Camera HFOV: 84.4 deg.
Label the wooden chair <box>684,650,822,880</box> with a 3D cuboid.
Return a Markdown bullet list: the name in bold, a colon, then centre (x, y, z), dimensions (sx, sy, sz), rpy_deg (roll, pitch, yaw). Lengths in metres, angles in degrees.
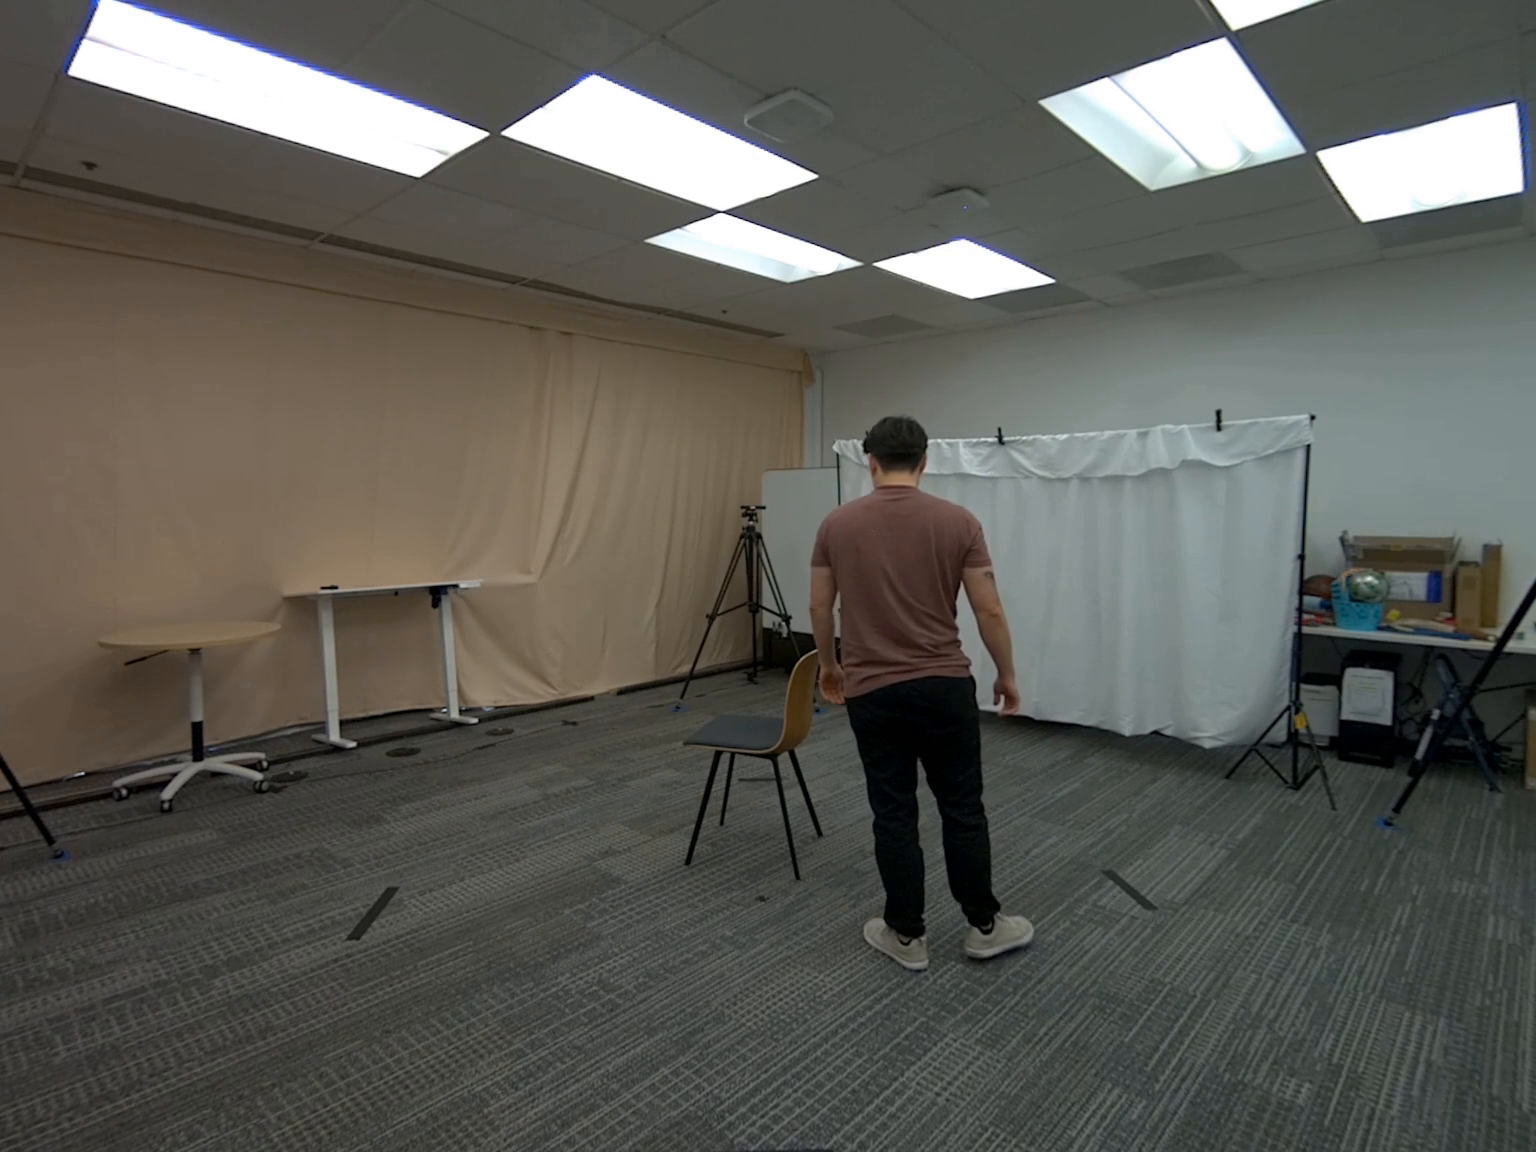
- **wooden chair**: centre (-0.056, 0.684, 3.377), dimensions (0.533, 0.875, 0.470), rpy_deg (5, 5, 17)
